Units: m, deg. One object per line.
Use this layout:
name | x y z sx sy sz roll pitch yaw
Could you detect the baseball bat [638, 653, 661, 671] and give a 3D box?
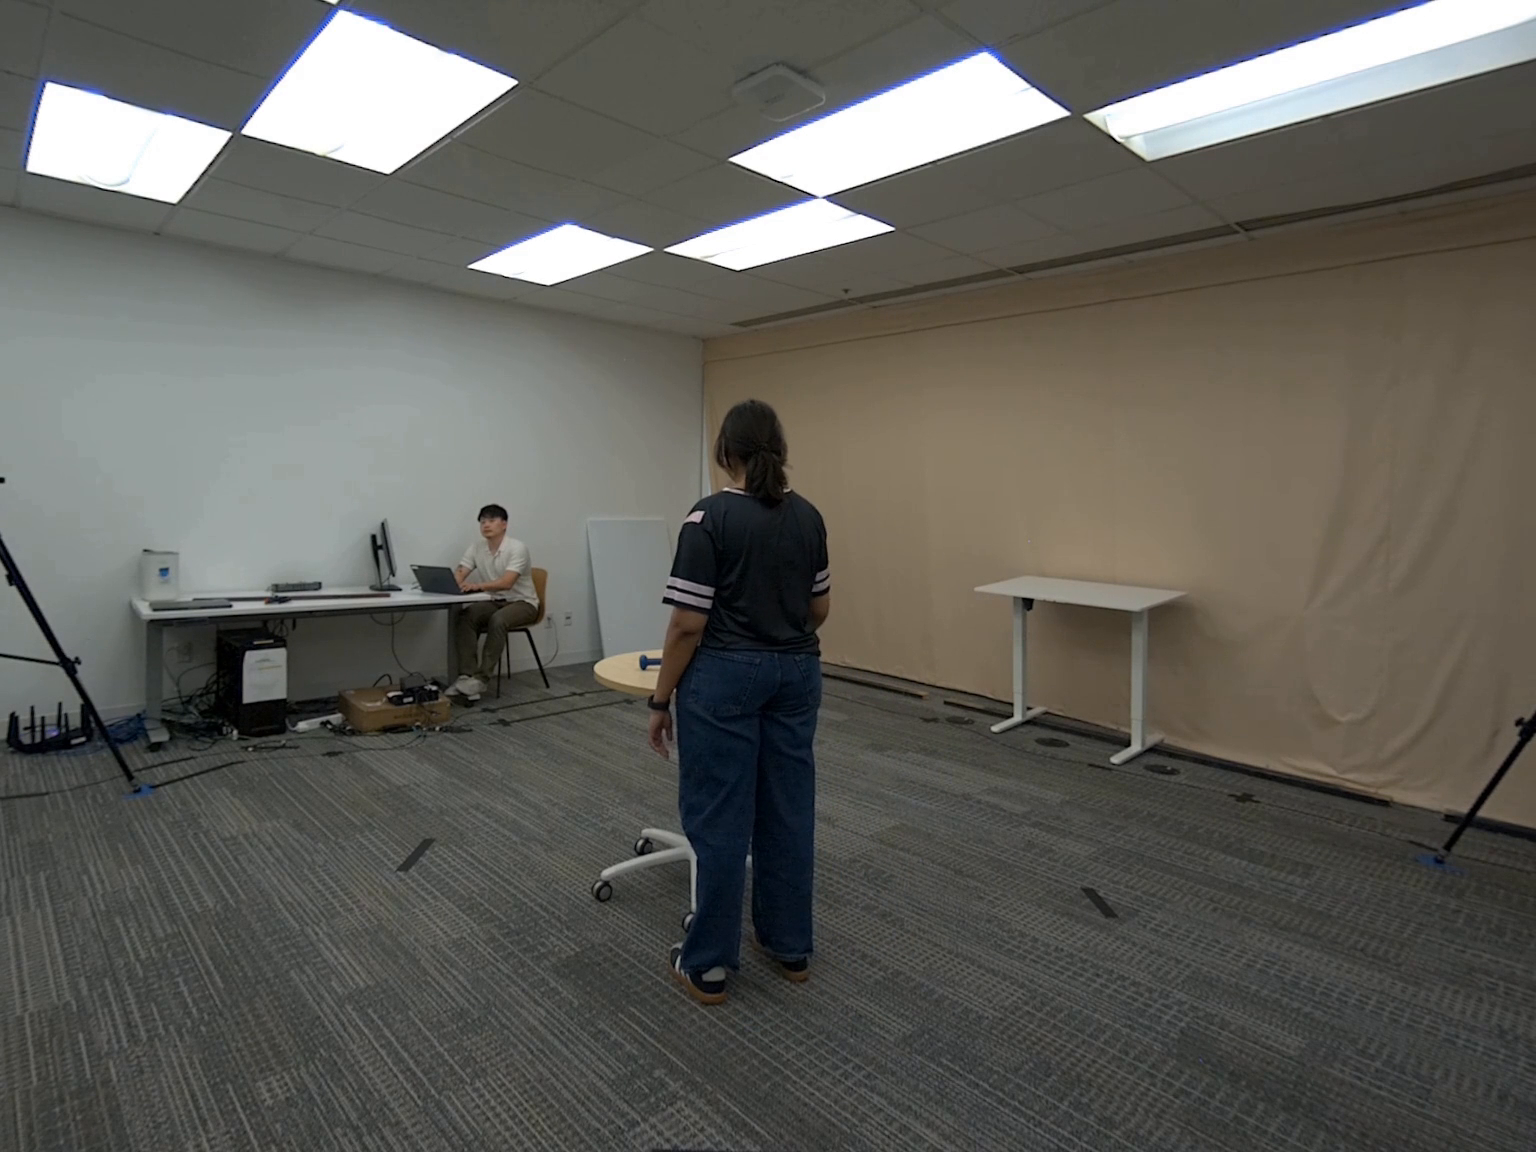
baseball bat | -0.180 0.304 2.919 0.542 0.089 0.089 -1 4 -3
